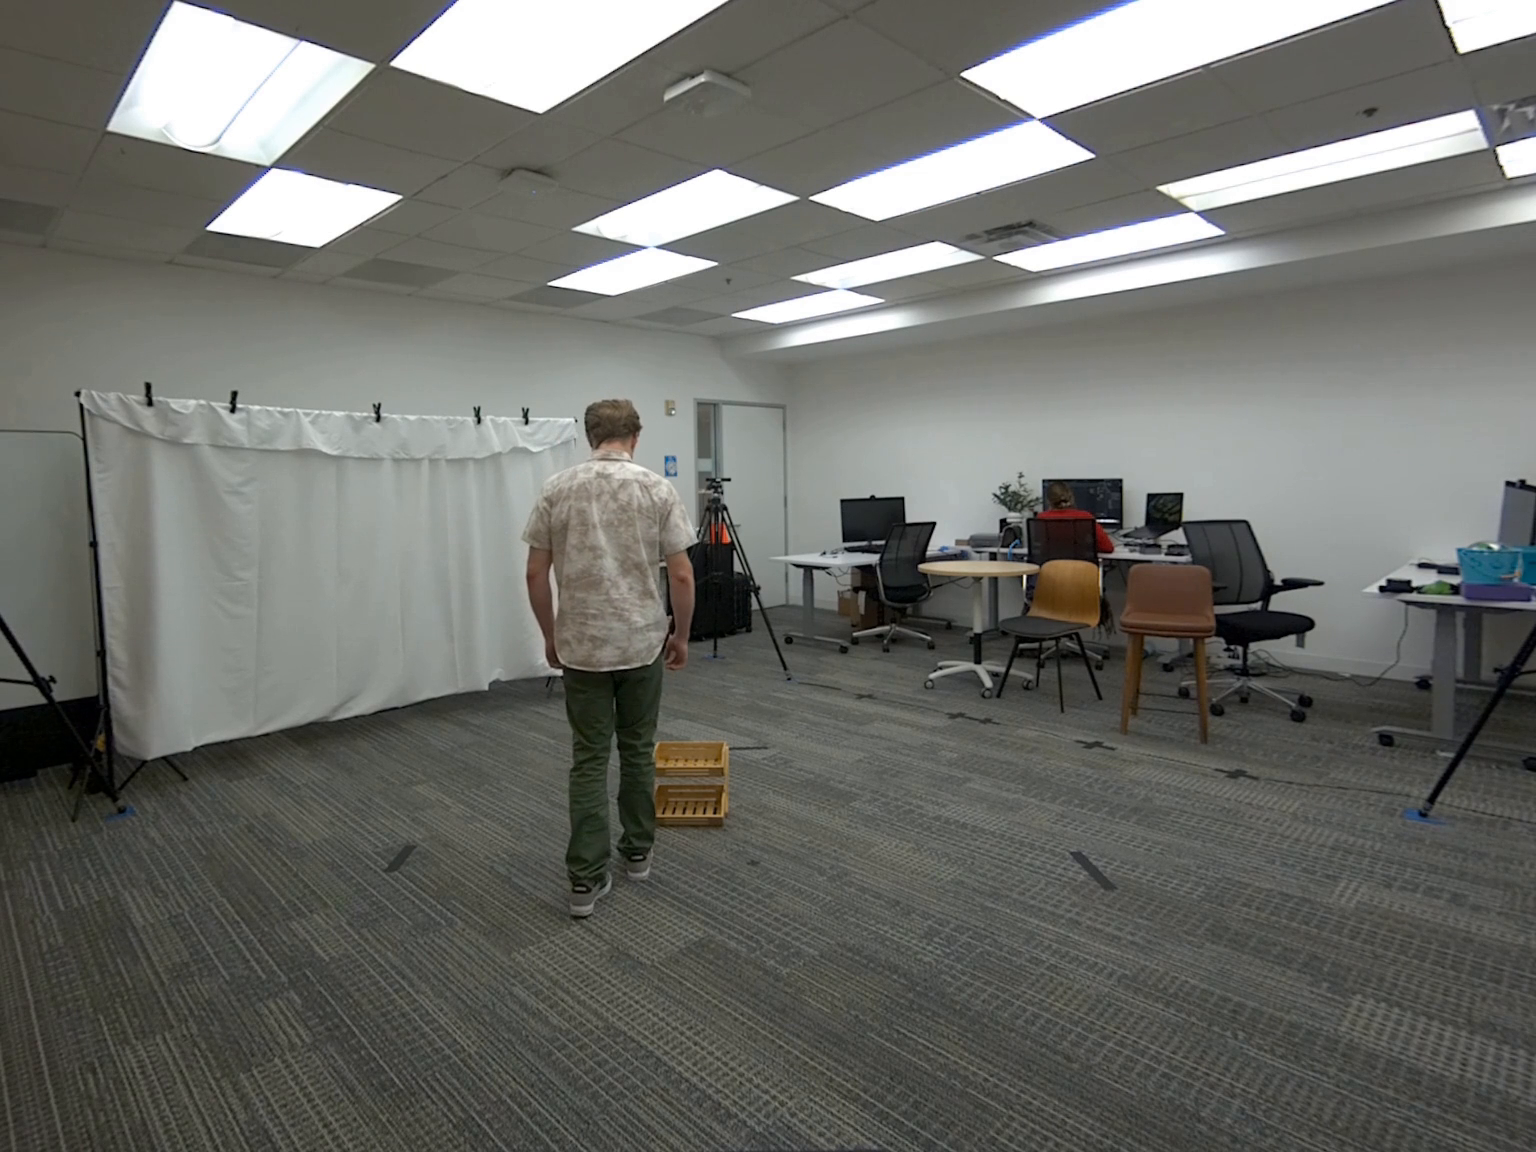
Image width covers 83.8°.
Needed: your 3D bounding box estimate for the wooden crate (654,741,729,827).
[{"bbox_3d":[-0.330,0.859,3.565,0.325,0.272,0.302,-1,5,2],"label":"wooden crate"}]
